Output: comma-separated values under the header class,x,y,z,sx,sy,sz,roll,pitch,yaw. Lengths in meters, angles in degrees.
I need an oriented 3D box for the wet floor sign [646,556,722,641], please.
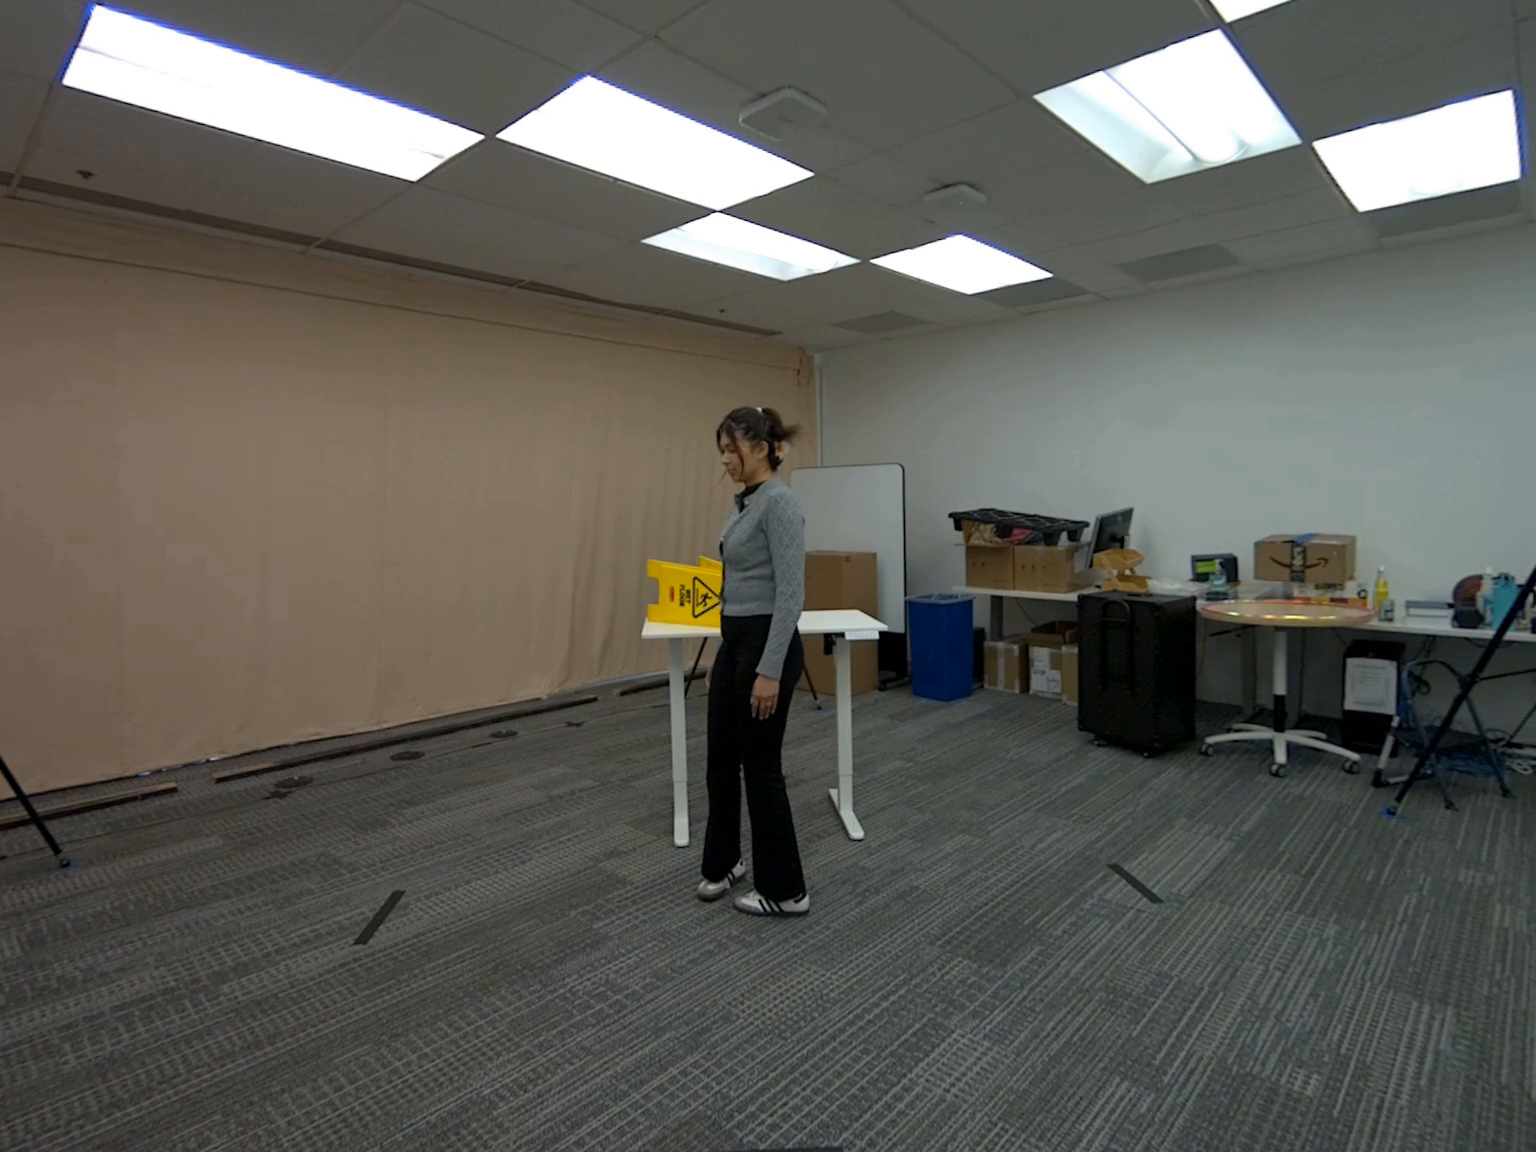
class,x,y,z,sx,sy,sz,roll,pitch,yaw
wet floor sign,-0.224,0.087,3.627,0.281,0.281,0.668,-4,7,-39
